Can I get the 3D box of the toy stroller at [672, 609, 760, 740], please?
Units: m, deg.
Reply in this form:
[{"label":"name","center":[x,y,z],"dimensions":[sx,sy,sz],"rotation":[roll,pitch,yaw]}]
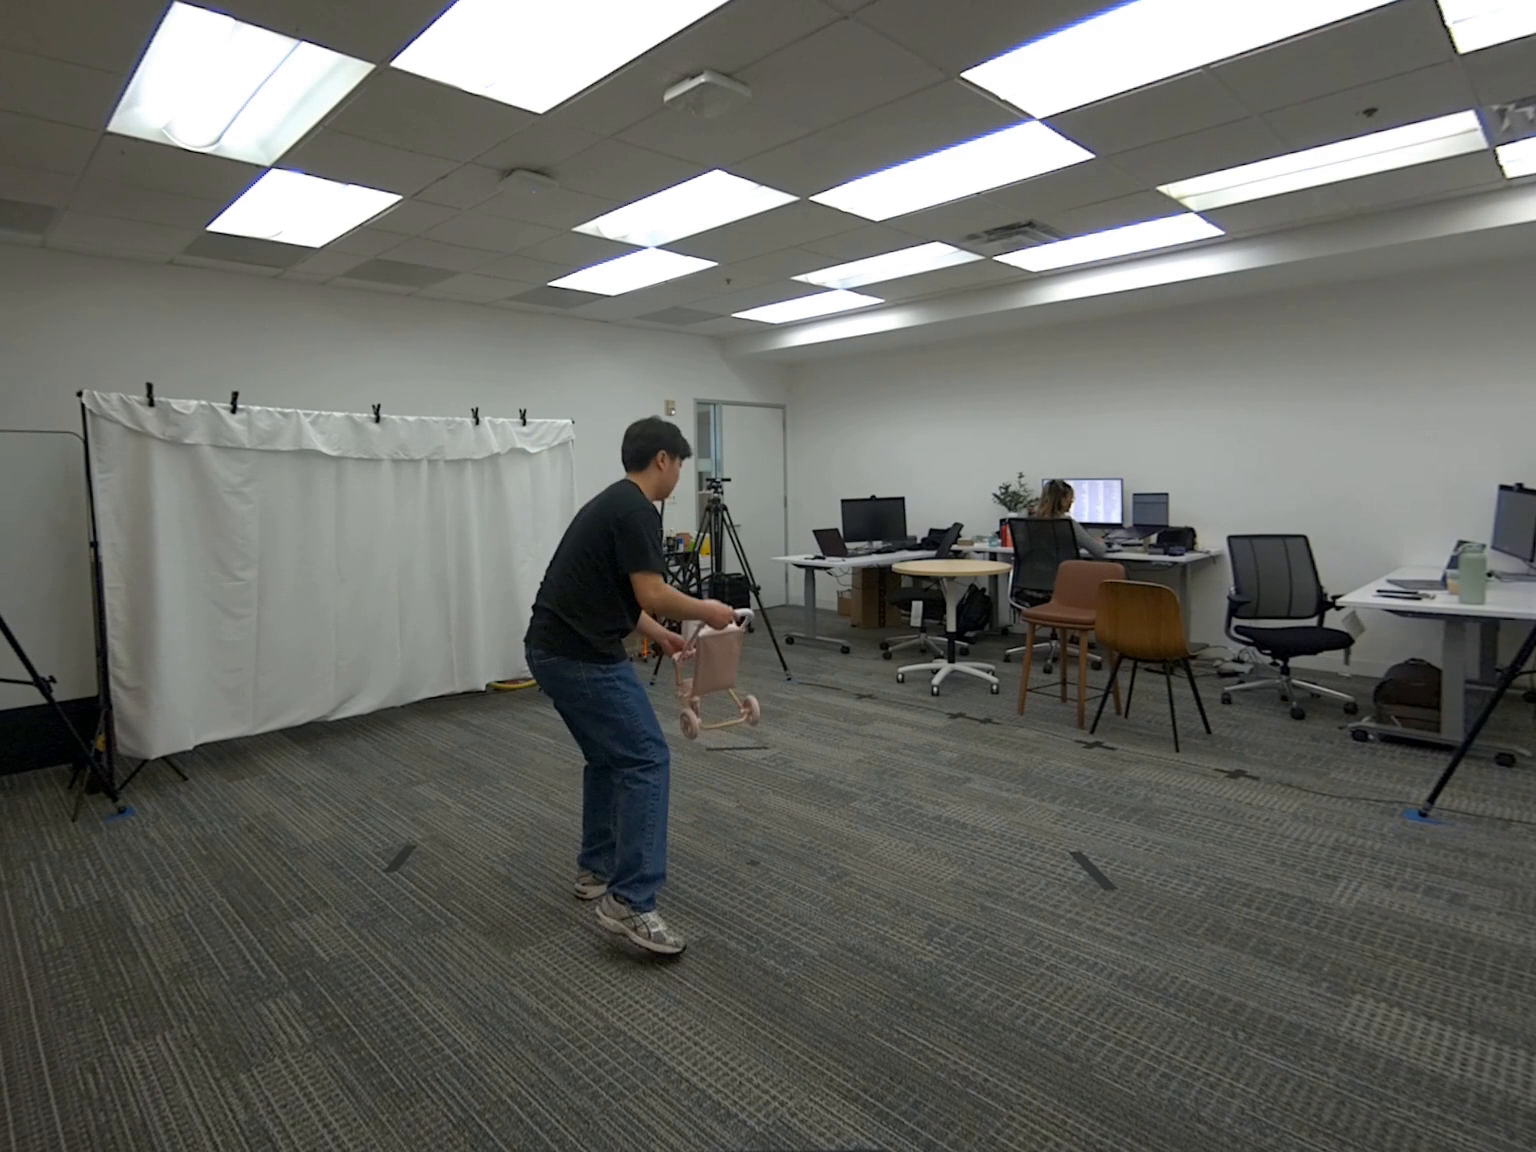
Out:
[{"label":"toy stroller","center":[-0.212,0.331,3.104],"dimensions":[0.276,0.527,0.353],"rotation":[-7,19,-24]}]
